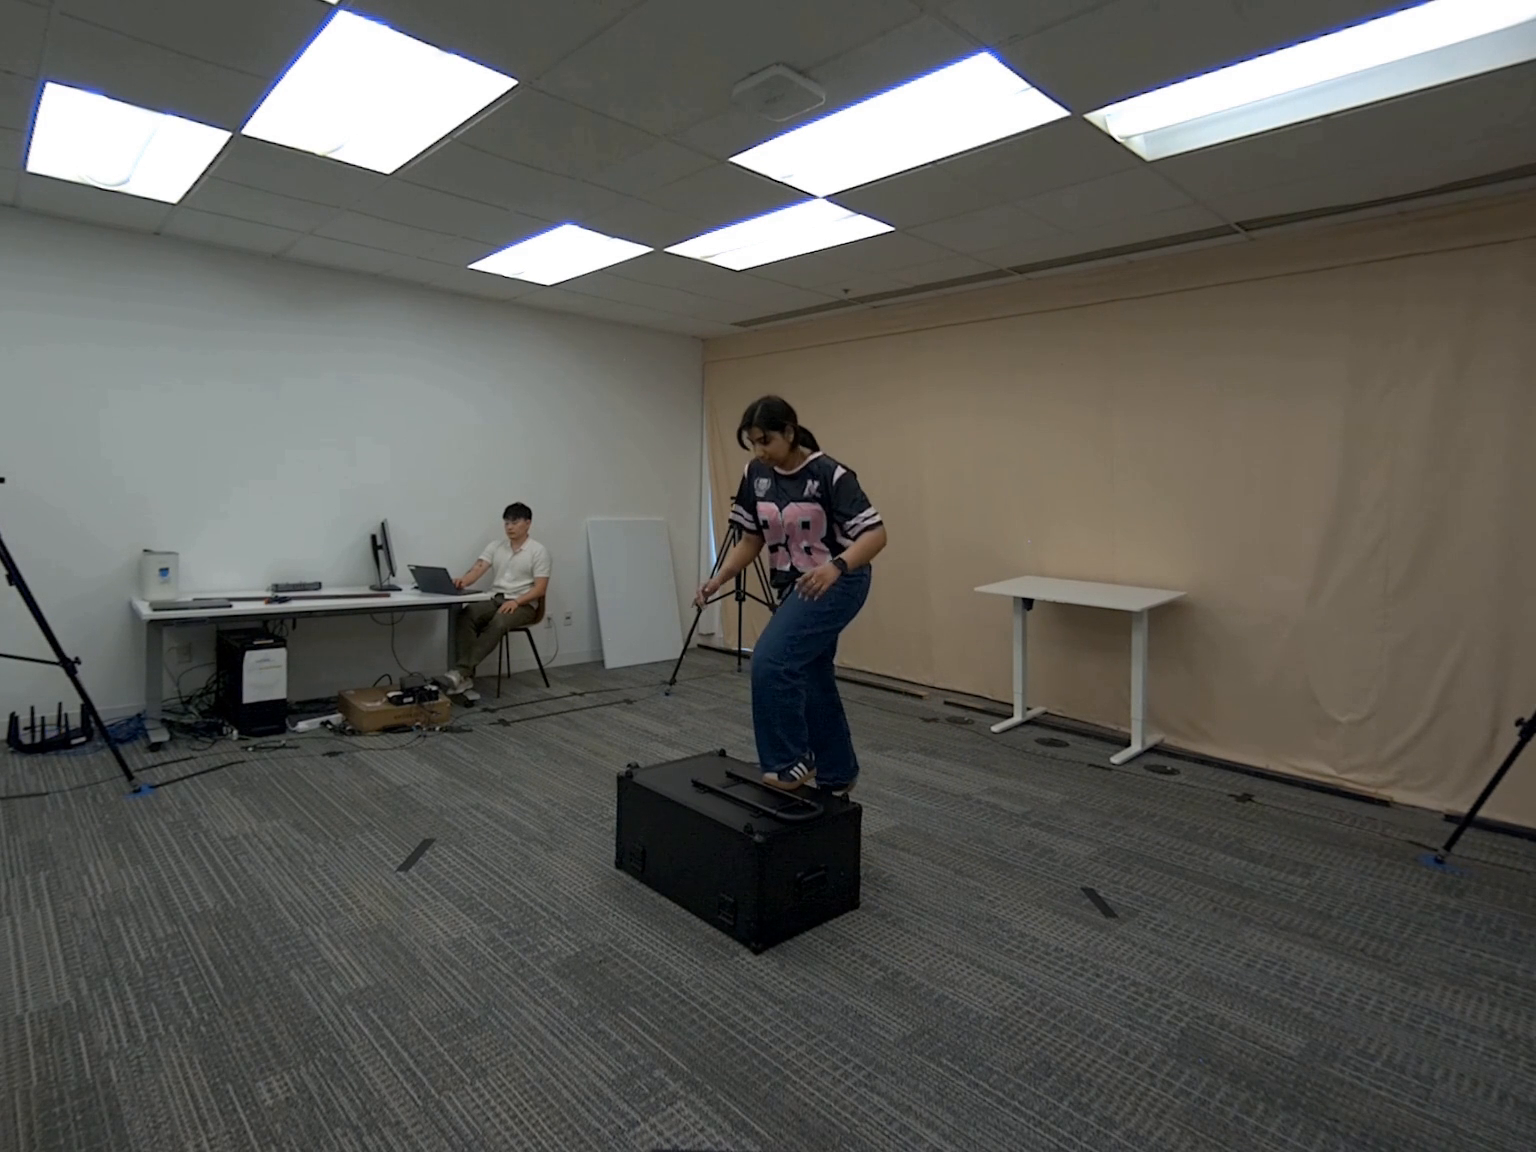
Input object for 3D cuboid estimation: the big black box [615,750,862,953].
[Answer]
[{"bbox_3d":[-0.160,0.927,3.019,0.512,0.384,0.891,-4,7,-42],"label":"big black box"}]
